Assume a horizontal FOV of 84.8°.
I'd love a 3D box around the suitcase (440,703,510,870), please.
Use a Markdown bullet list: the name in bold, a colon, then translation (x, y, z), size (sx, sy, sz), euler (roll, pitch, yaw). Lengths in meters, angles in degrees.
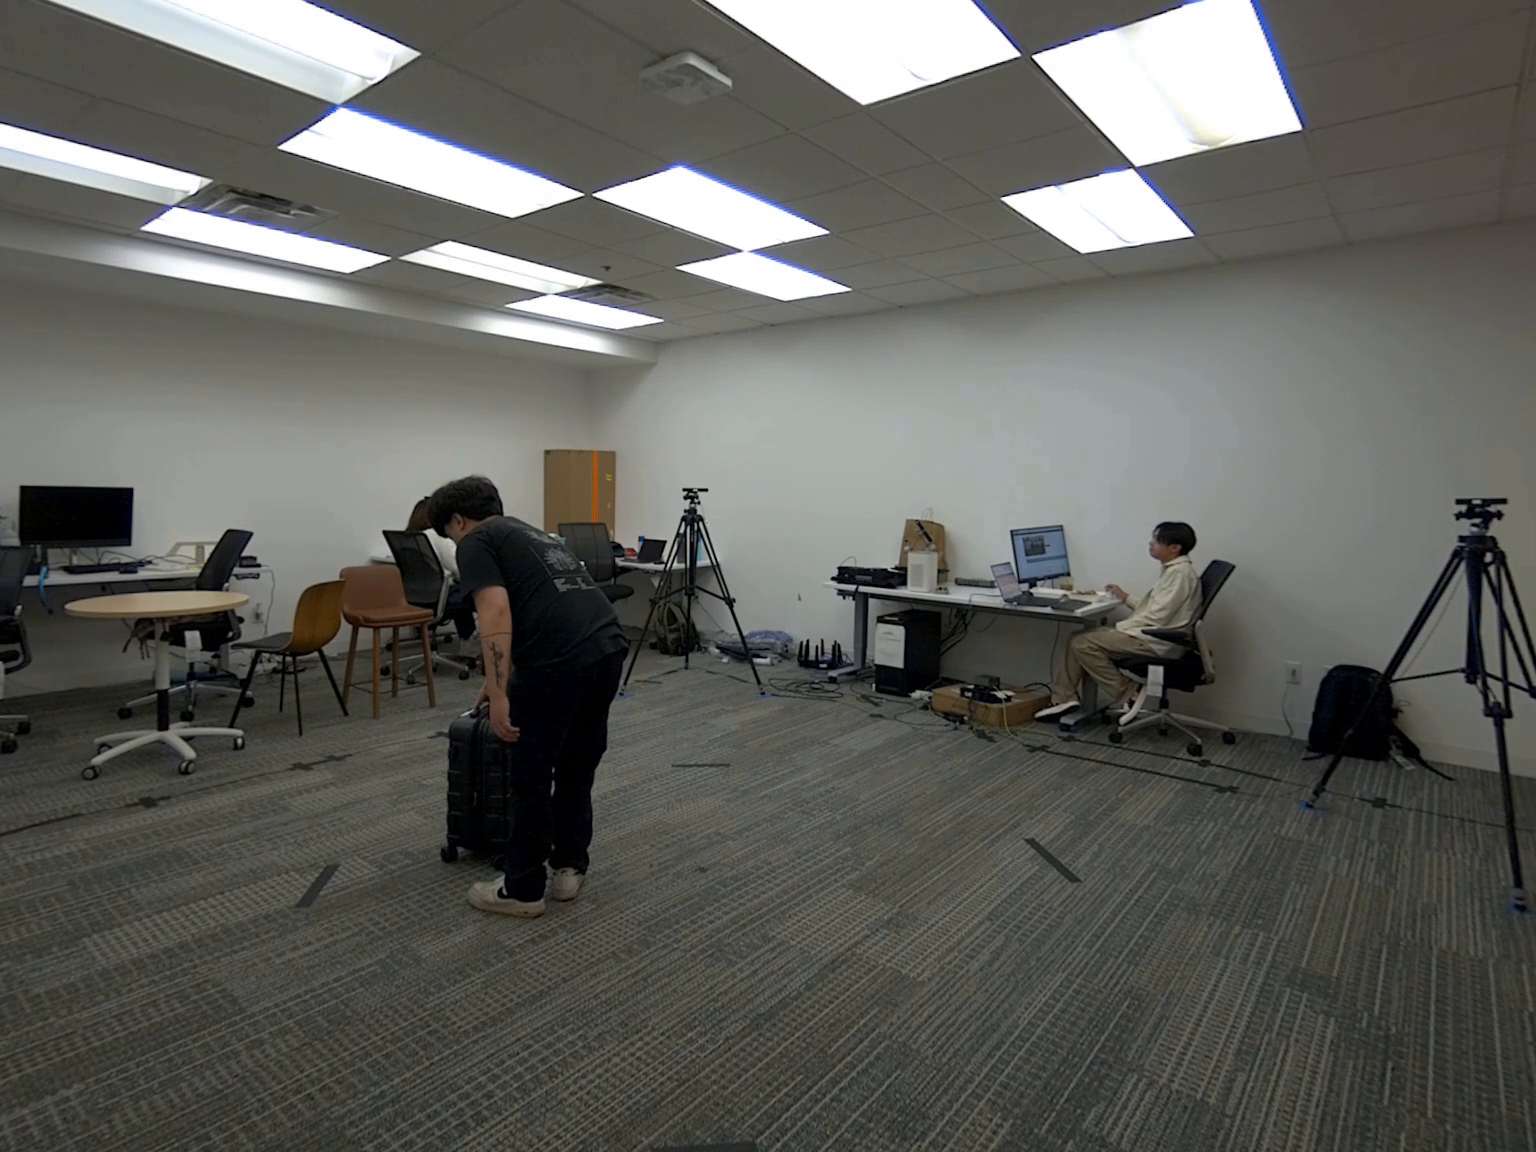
- **suitcase**: translation (-1.060, 0.767, 3.249), size (0.251, 0.548, 0.373), euler (2, 3, 7)
